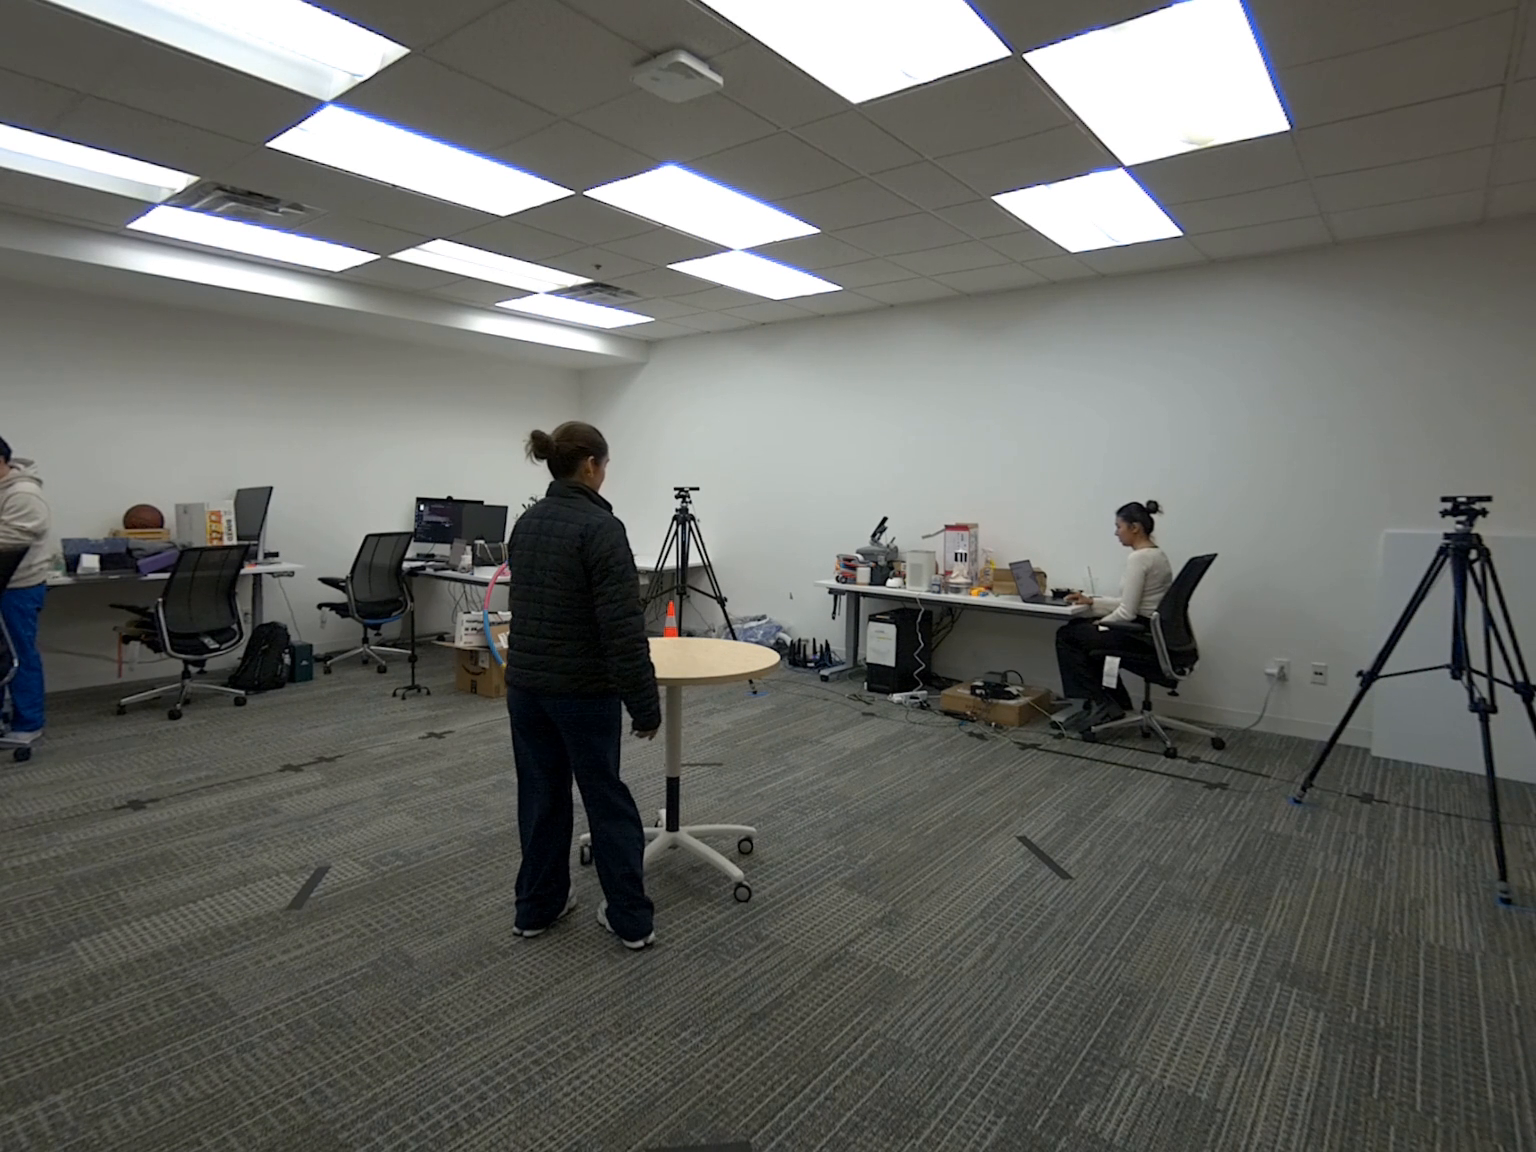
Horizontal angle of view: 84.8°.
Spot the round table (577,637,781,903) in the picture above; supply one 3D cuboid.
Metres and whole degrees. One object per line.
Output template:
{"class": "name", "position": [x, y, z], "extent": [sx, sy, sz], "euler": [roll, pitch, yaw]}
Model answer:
{"class": "round table", "position": [-0.338, 0.672, 3.116], "extent": [0.784, 0.784, 0.789], "euler": [1, 4, -2]}
